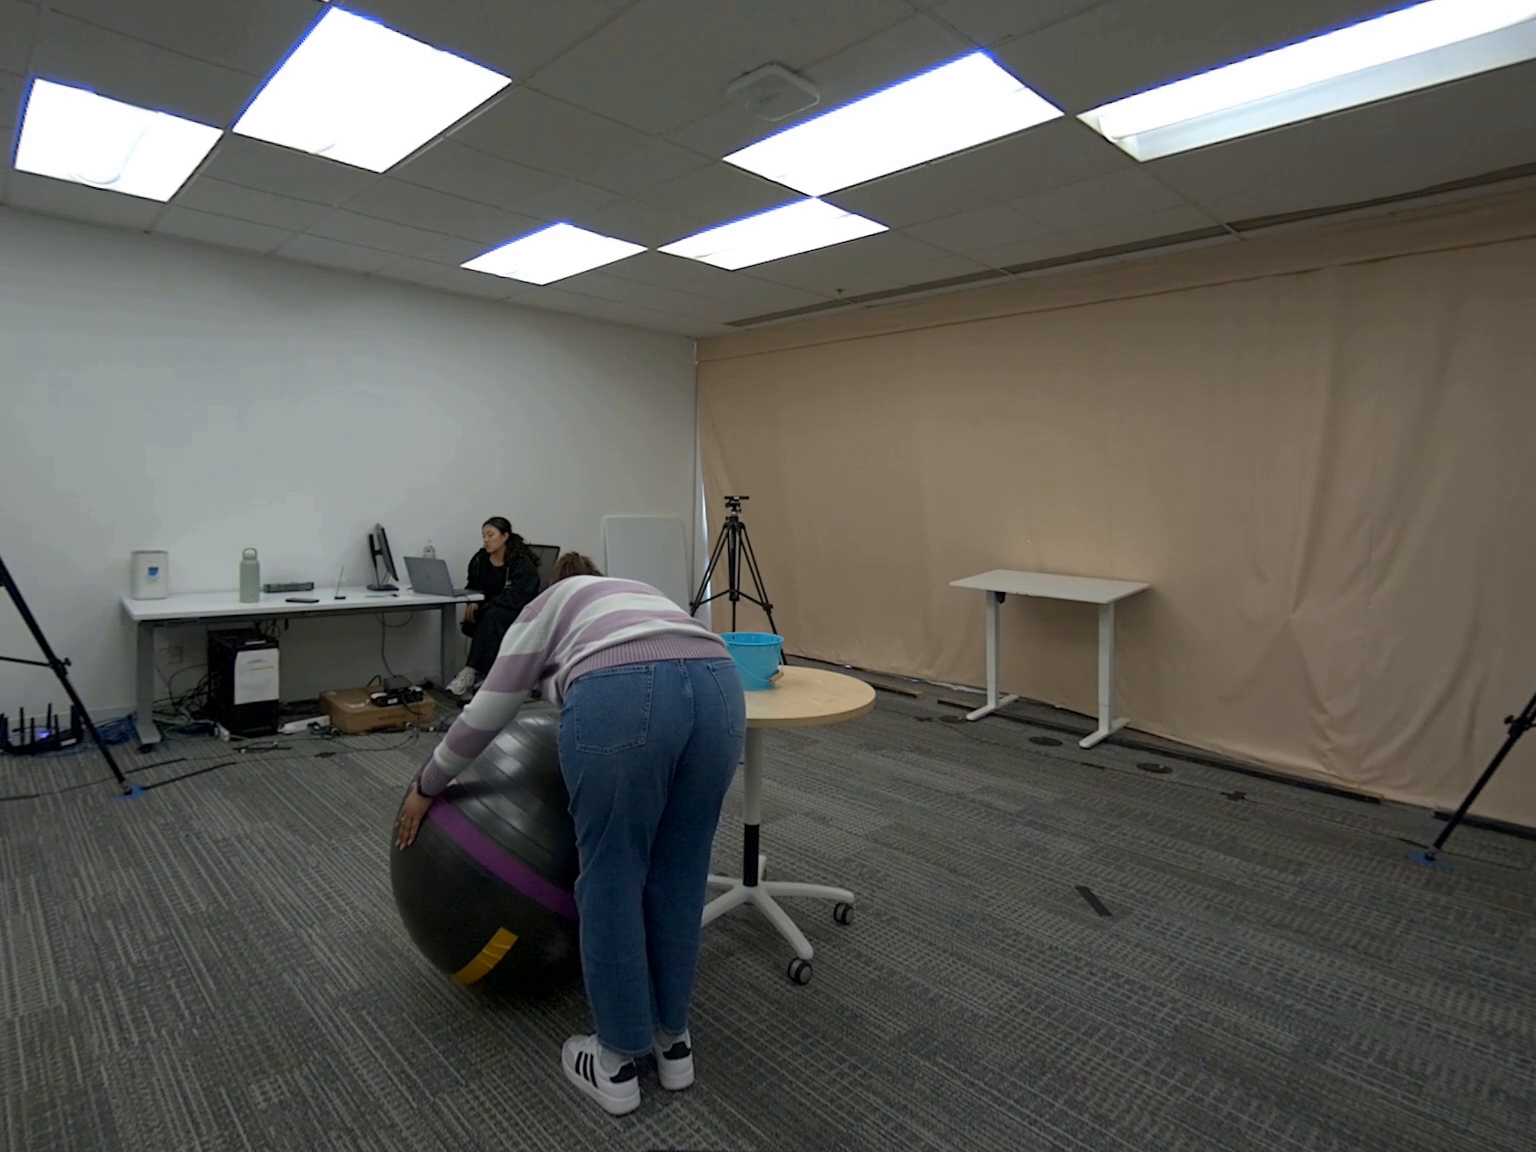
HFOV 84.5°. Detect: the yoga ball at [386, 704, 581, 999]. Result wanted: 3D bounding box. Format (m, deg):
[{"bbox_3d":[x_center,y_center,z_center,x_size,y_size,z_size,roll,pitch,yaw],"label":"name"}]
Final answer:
[{"bbox_3d":[-0.697,0.772,2.405,0.757,0.756,0.761,1,4,-1],"label":"yoga ball"}]
